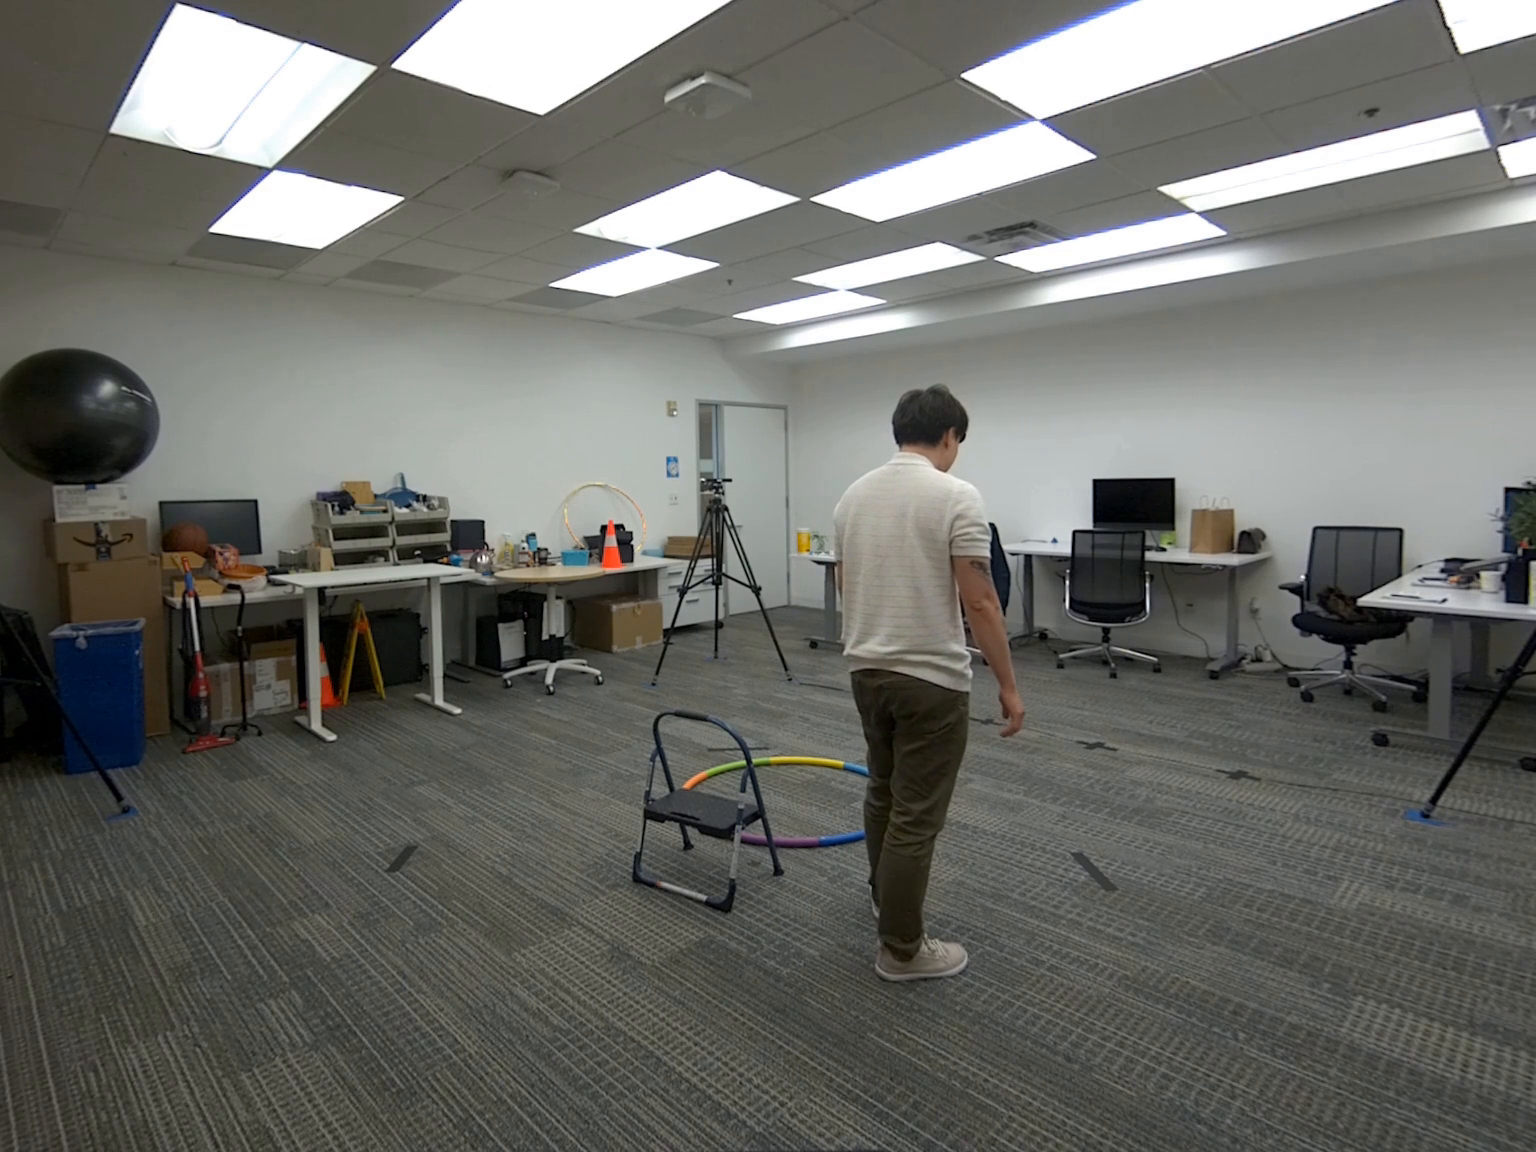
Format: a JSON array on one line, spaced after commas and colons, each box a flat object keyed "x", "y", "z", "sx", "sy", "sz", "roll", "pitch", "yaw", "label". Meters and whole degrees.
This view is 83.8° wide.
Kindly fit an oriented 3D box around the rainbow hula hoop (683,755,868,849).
[{"x": 0.098, "y": 0.943, "z": 3.713, "sx": 0.978, "sy": 0.035, "sz": 0.984, "roll": -1, "pitch": 7, "yaw": -2, "label": "rainbow hula hoop"}]
